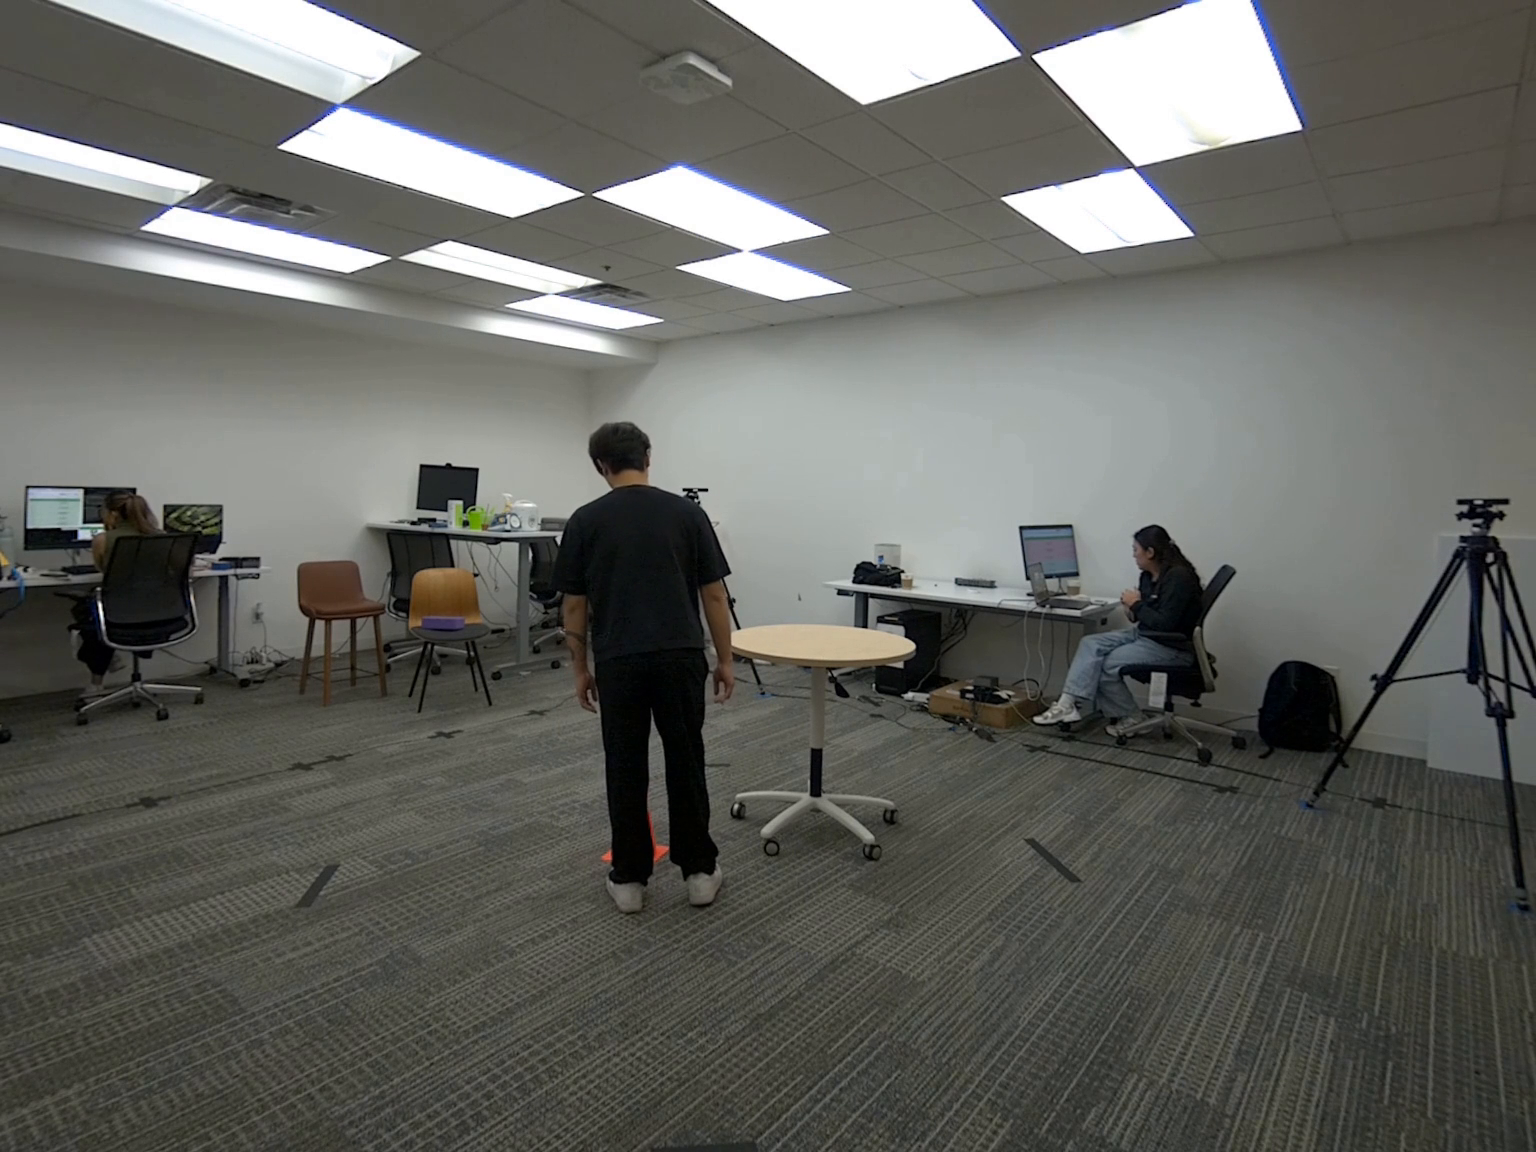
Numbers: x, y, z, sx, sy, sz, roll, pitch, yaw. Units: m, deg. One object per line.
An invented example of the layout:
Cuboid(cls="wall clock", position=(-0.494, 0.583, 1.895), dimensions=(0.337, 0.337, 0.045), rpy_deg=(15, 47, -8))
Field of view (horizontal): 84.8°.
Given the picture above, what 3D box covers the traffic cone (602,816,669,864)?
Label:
Cuboid(cls="traffic cone", position=(-0.502, 0.866, 3.223), dimensions=(0.208, 0.383, 0.200), rpy_deg=(3, 3, 22))
